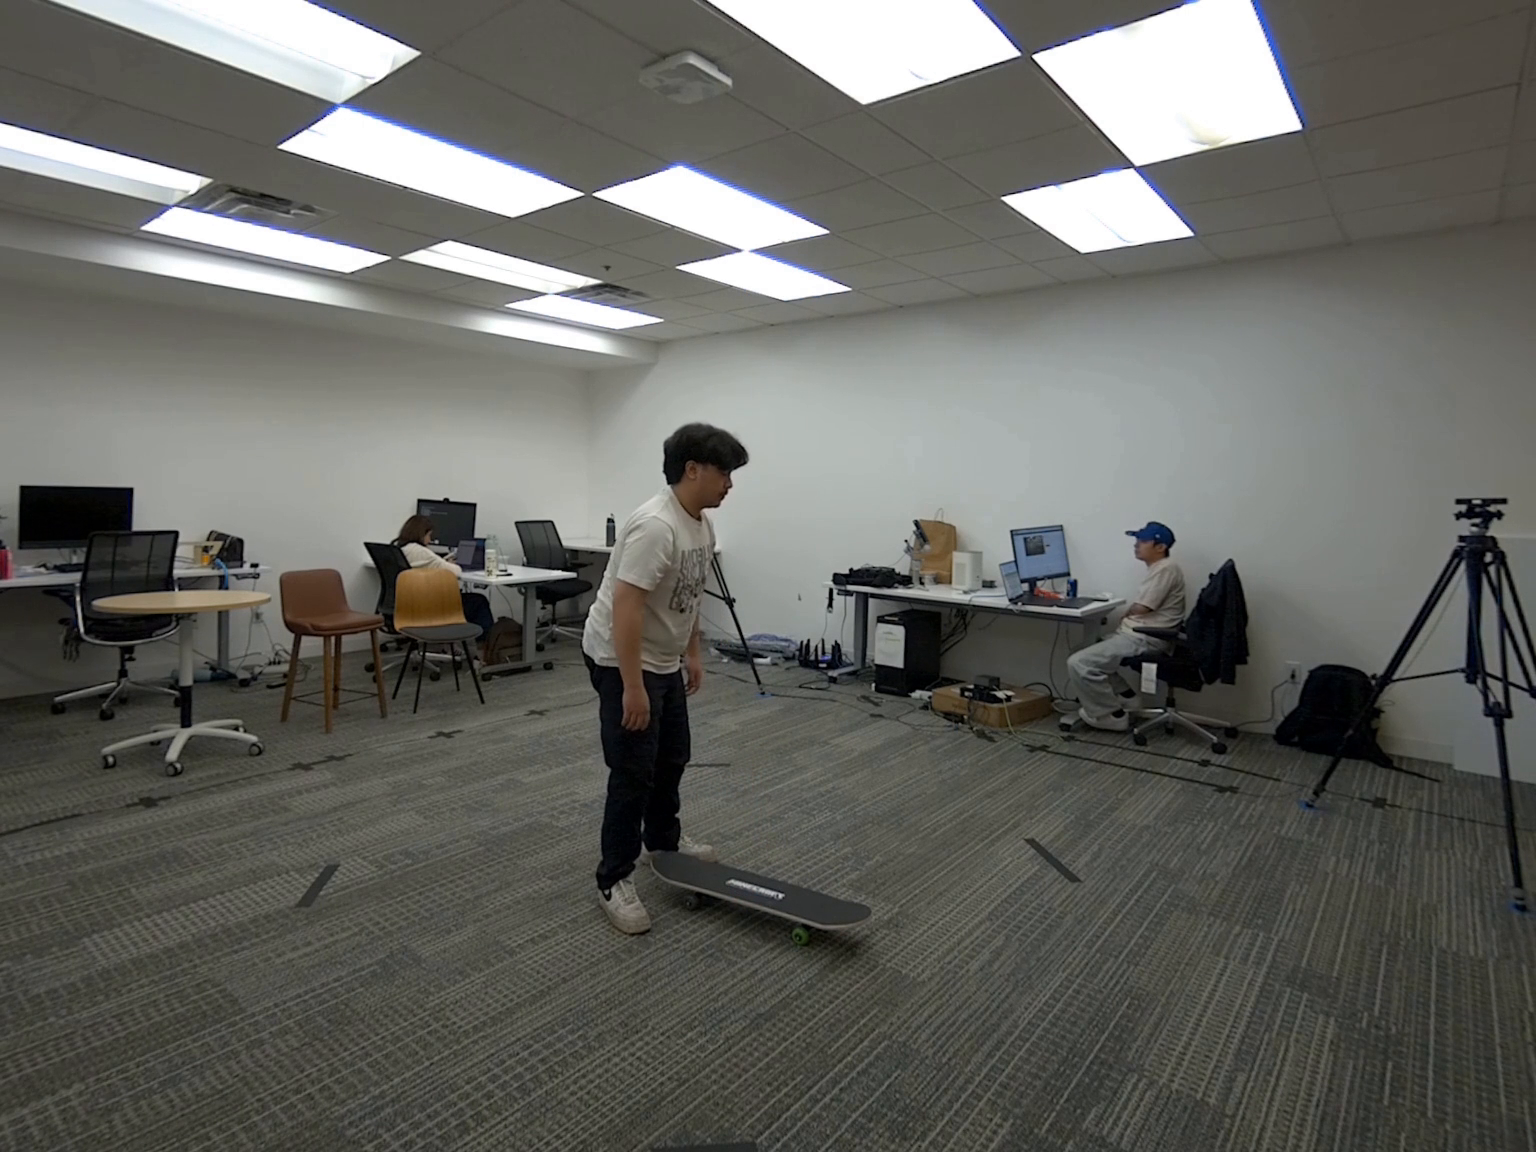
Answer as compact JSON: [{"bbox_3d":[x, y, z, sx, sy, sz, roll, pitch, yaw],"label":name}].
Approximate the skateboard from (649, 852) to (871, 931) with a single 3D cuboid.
[{"bbox_3d":[-0.045,1.051,2.768,0.808,0.110,0.189,4,5,29],"label":"skateboard"}]
